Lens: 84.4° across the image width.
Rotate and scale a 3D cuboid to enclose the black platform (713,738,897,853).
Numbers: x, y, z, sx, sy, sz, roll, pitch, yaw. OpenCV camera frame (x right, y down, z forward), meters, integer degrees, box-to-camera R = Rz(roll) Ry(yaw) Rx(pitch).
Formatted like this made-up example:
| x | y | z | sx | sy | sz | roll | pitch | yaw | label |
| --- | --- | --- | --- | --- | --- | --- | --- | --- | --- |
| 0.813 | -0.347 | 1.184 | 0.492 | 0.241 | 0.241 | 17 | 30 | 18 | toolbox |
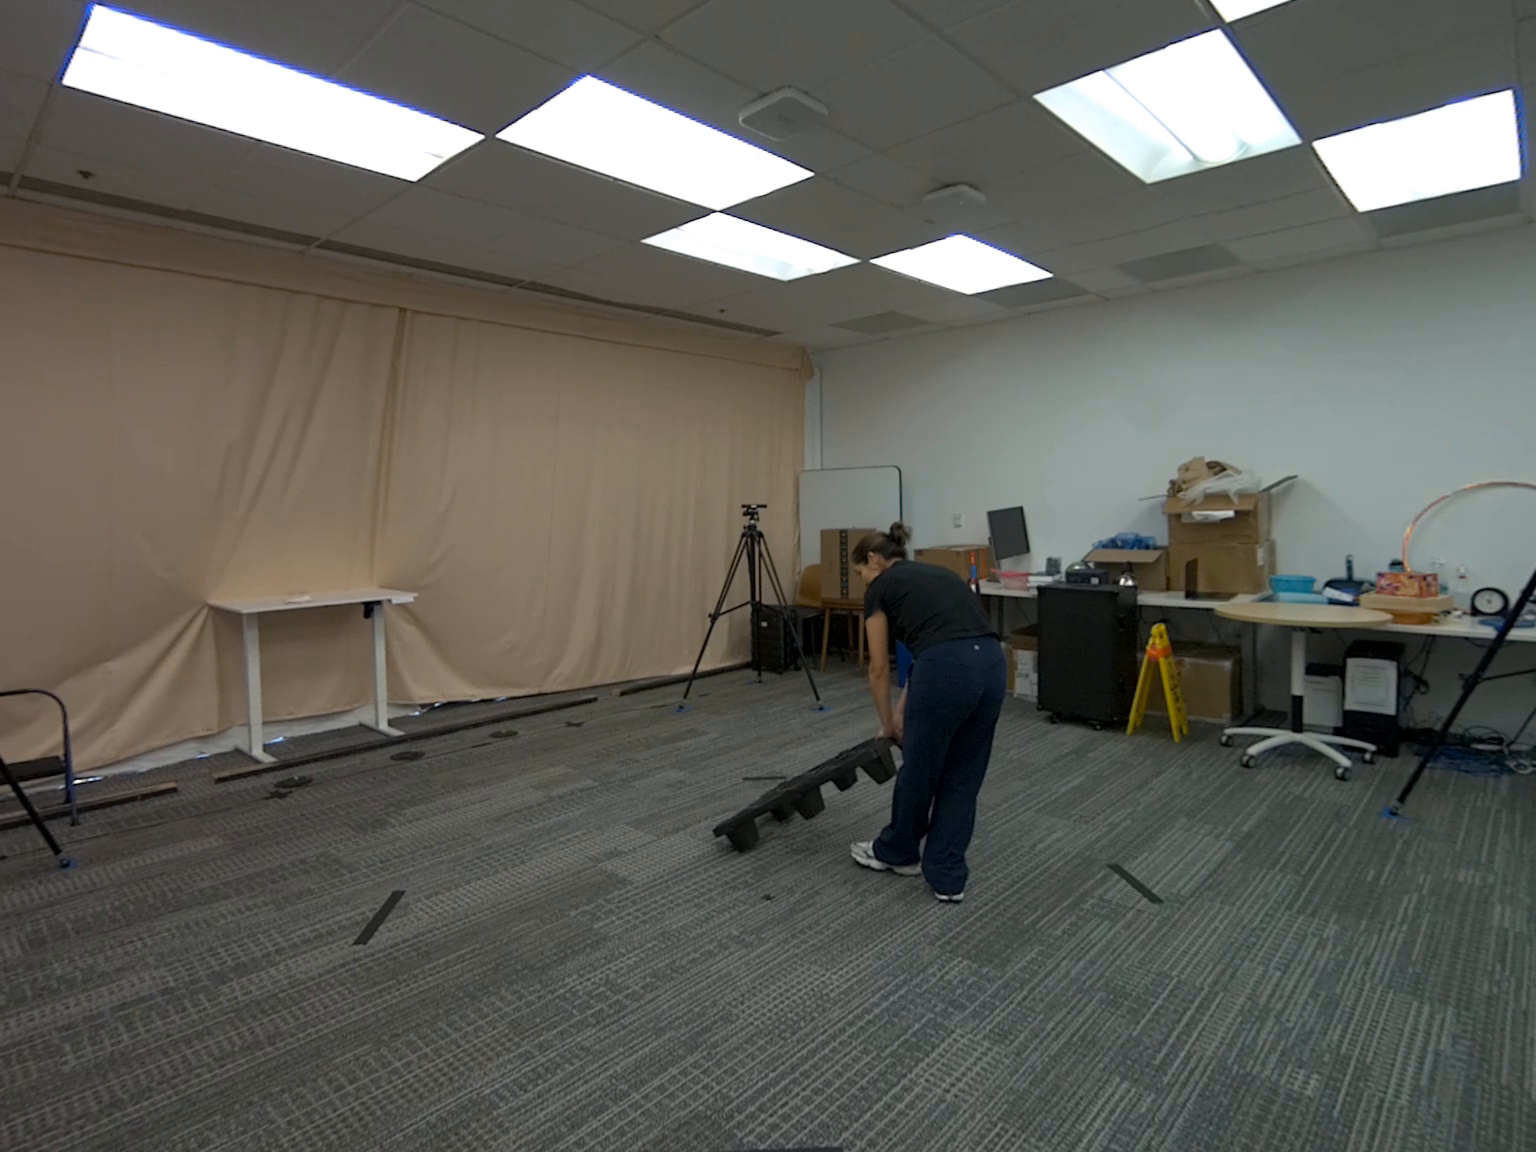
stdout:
| x | y | z | sx | sy | sz | roll | pitch | yaw | label |
| --- | --- | --- | --- | --- | --- | --- | --- | --- | --- |
| 0.249 | 0.846 | 3.426 | 0.815 | 0.145 | 0.590 | -34 | -11 | 25 | black platform |
